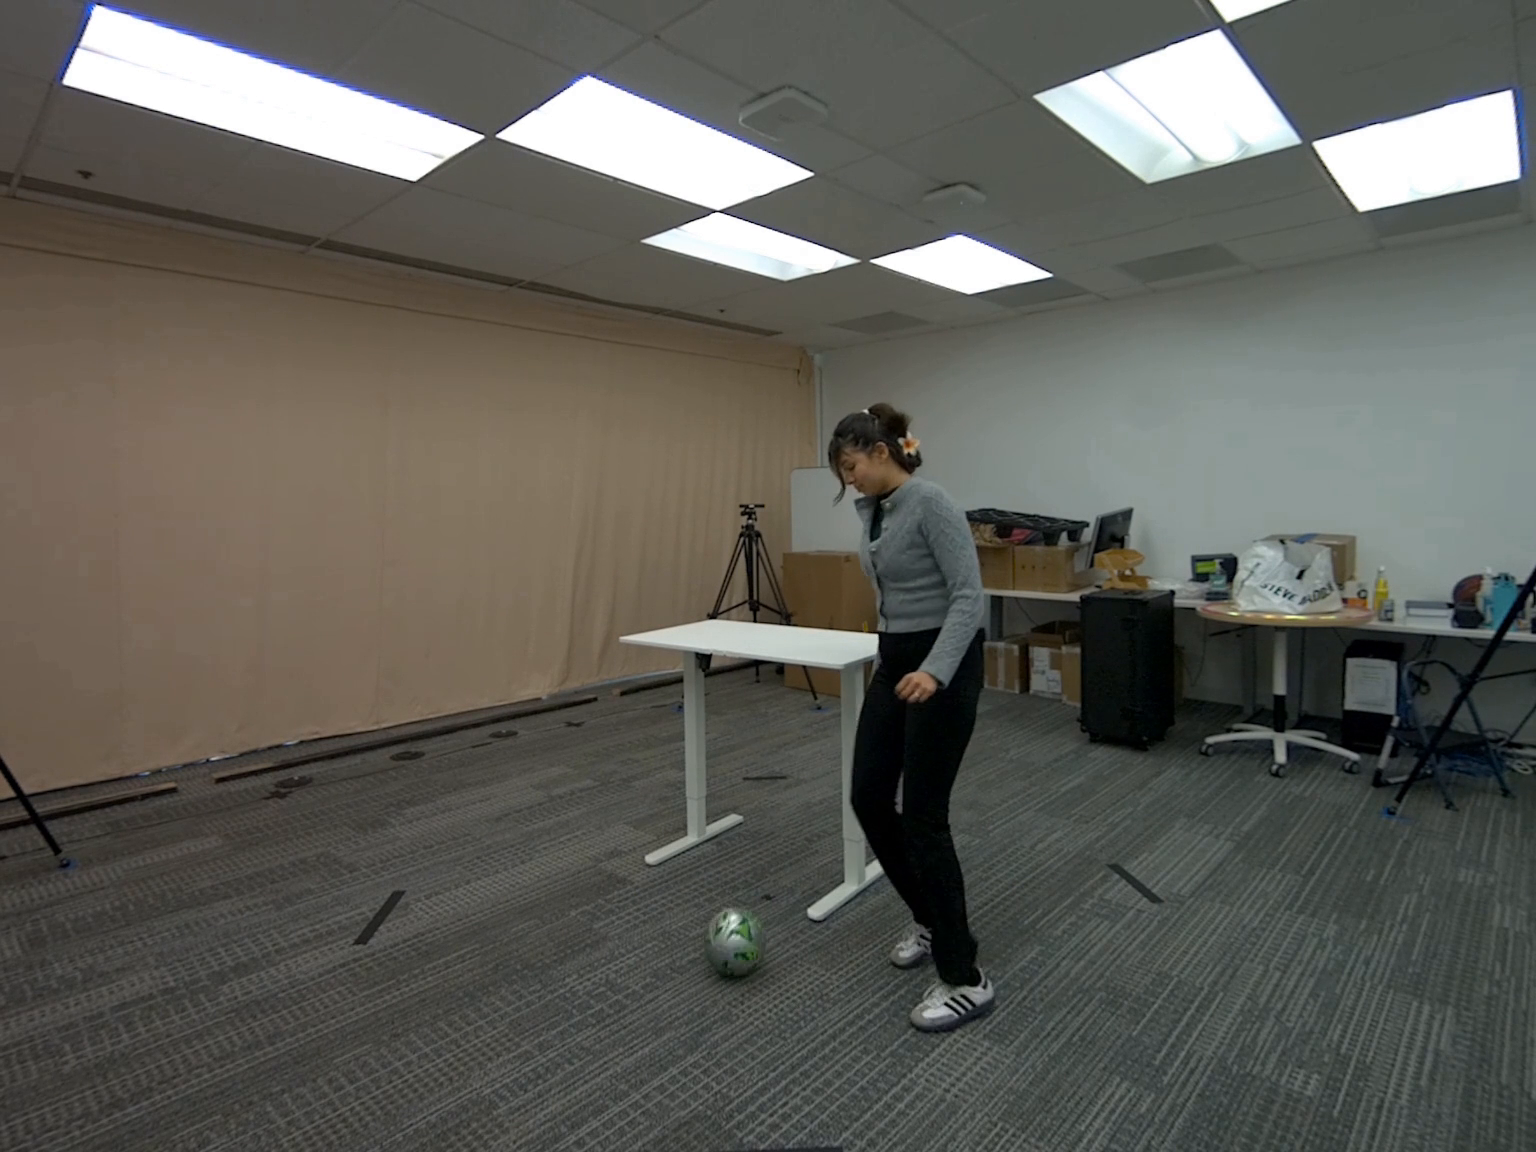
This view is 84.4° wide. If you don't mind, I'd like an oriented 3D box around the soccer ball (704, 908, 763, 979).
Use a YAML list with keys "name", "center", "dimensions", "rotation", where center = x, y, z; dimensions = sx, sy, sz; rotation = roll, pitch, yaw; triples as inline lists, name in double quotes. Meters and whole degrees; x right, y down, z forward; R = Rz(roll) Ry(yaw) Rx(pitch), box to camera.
- name: "soccer ball"
  center: [-0.099, 1.089, 2.509]
  dimensions: [0.187, 0.187, 0.188]
  rotation: [-1, 4, -2]
